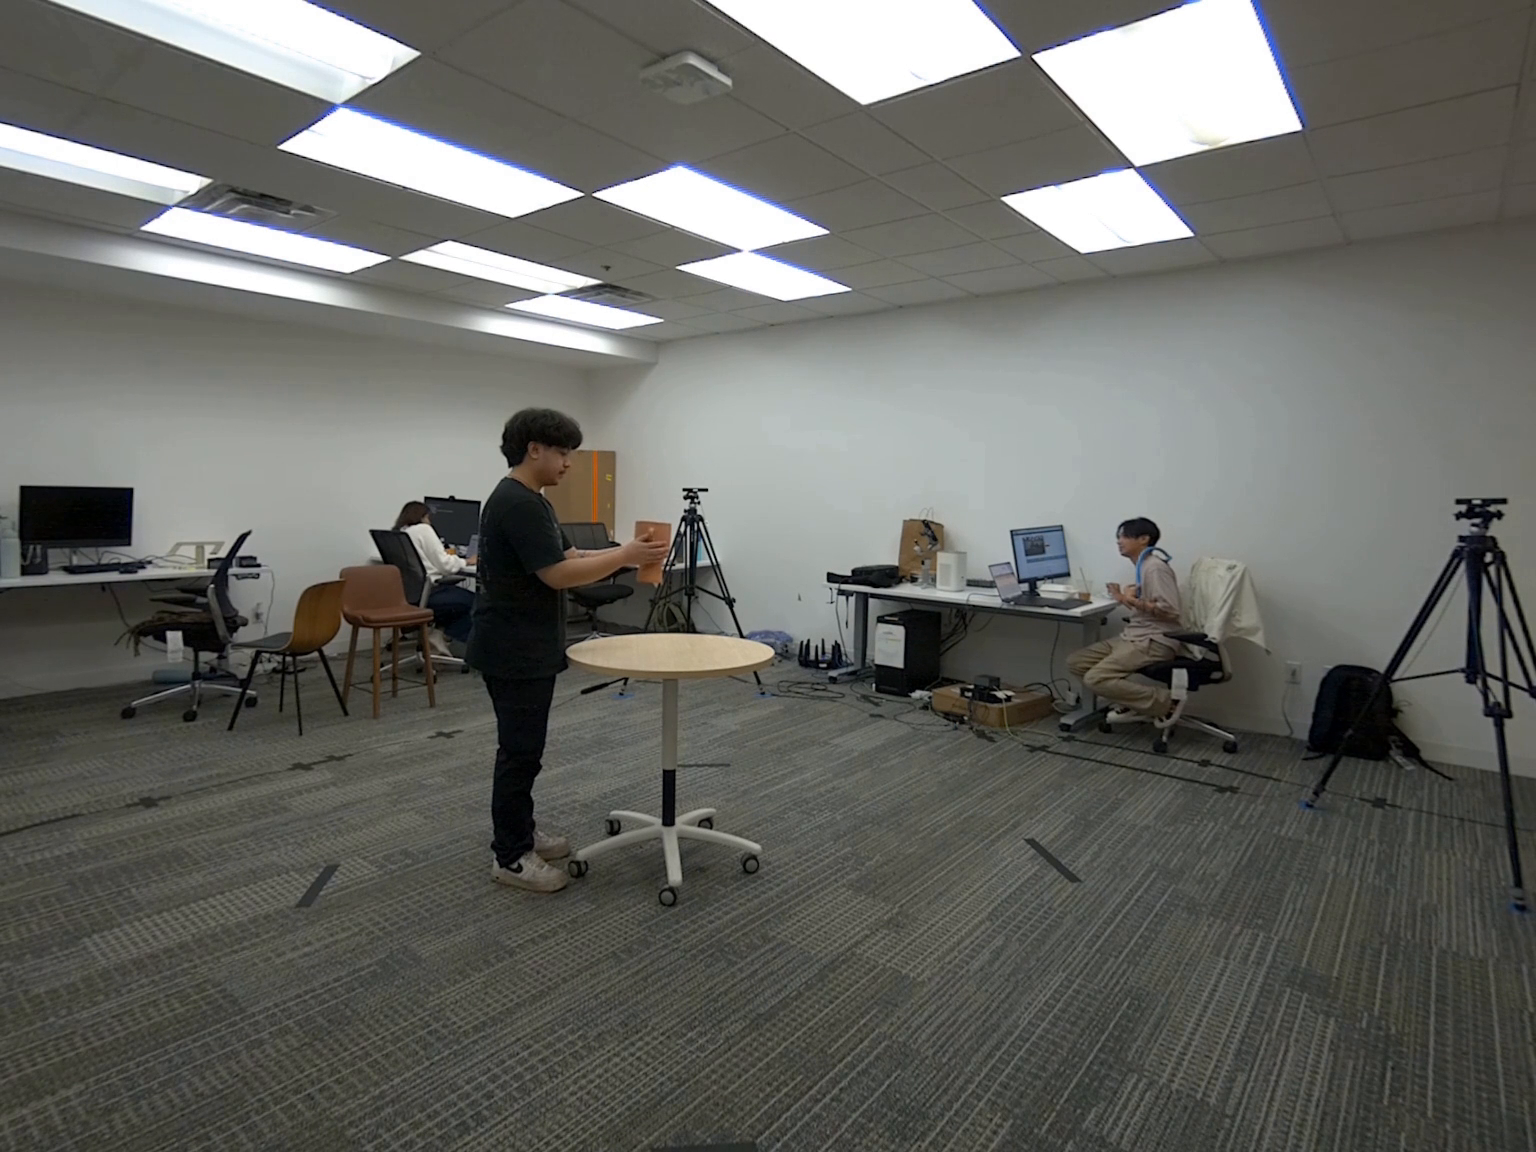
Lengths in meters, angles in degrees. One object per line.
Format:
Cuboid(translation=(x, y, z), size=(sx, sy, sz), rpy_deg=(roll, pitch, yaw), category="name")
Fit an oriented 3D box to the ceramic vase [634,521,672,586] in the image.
Cuboid(translation=(-0.450, -0.088, 3.108), size=(0.139, 0.220, 0.153), rpy_deg=(4, -3, 35), category="ceramic vase")
